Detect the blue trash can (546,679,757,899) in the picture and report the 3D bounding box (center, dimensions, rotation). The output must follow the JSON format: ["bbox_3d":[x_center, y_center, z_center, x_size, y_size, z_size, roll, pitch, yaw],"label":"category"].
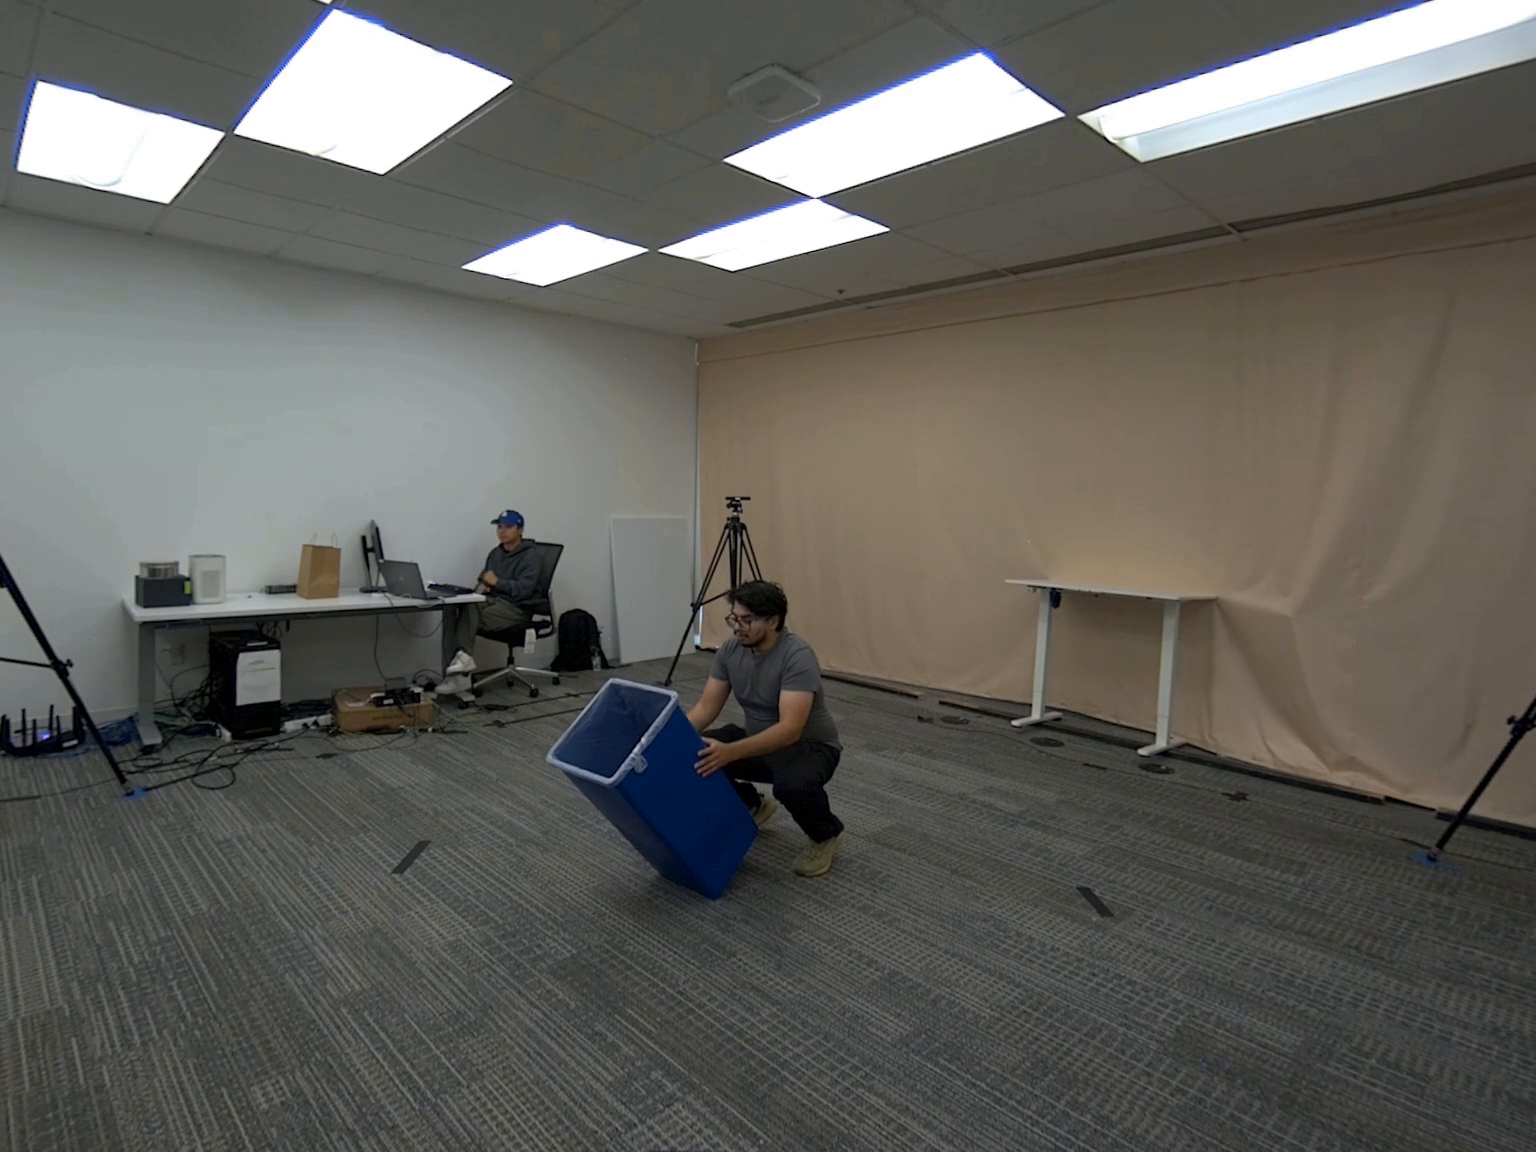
[{"bbox_3d":[-0.378,0.751,2.908,0.383,0.694,0.379,4,44,42],"label":"blue trash can"}]
